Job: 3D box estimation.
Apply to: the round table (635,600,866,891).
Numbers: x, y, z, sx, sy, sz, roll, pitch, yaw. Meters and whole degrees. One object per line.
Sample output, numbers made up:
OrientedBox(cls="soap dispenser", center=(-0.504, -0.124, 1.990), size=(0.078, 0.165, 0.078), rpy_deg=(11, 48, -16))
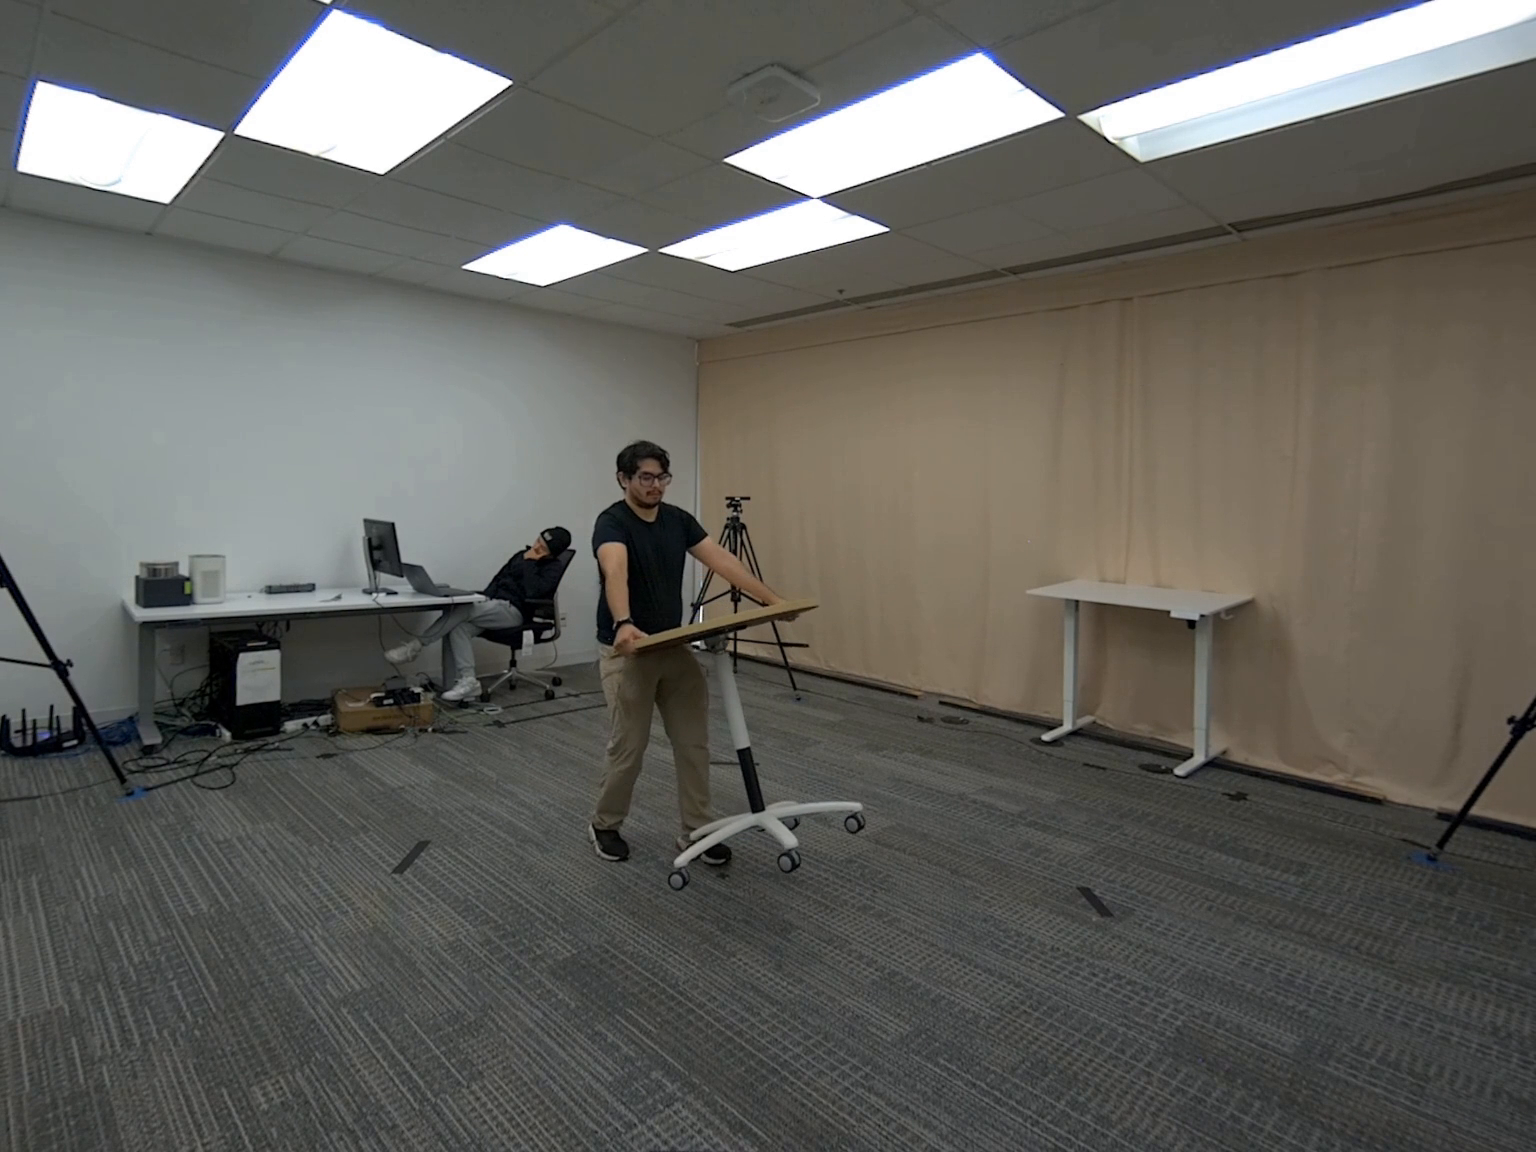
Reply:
OrientedBox(cls="round table", center=(-0.092, 0.561, 2.950), size=(0.784, 0.791, 0.781), rpy_deg=(-13, -6, -3))
